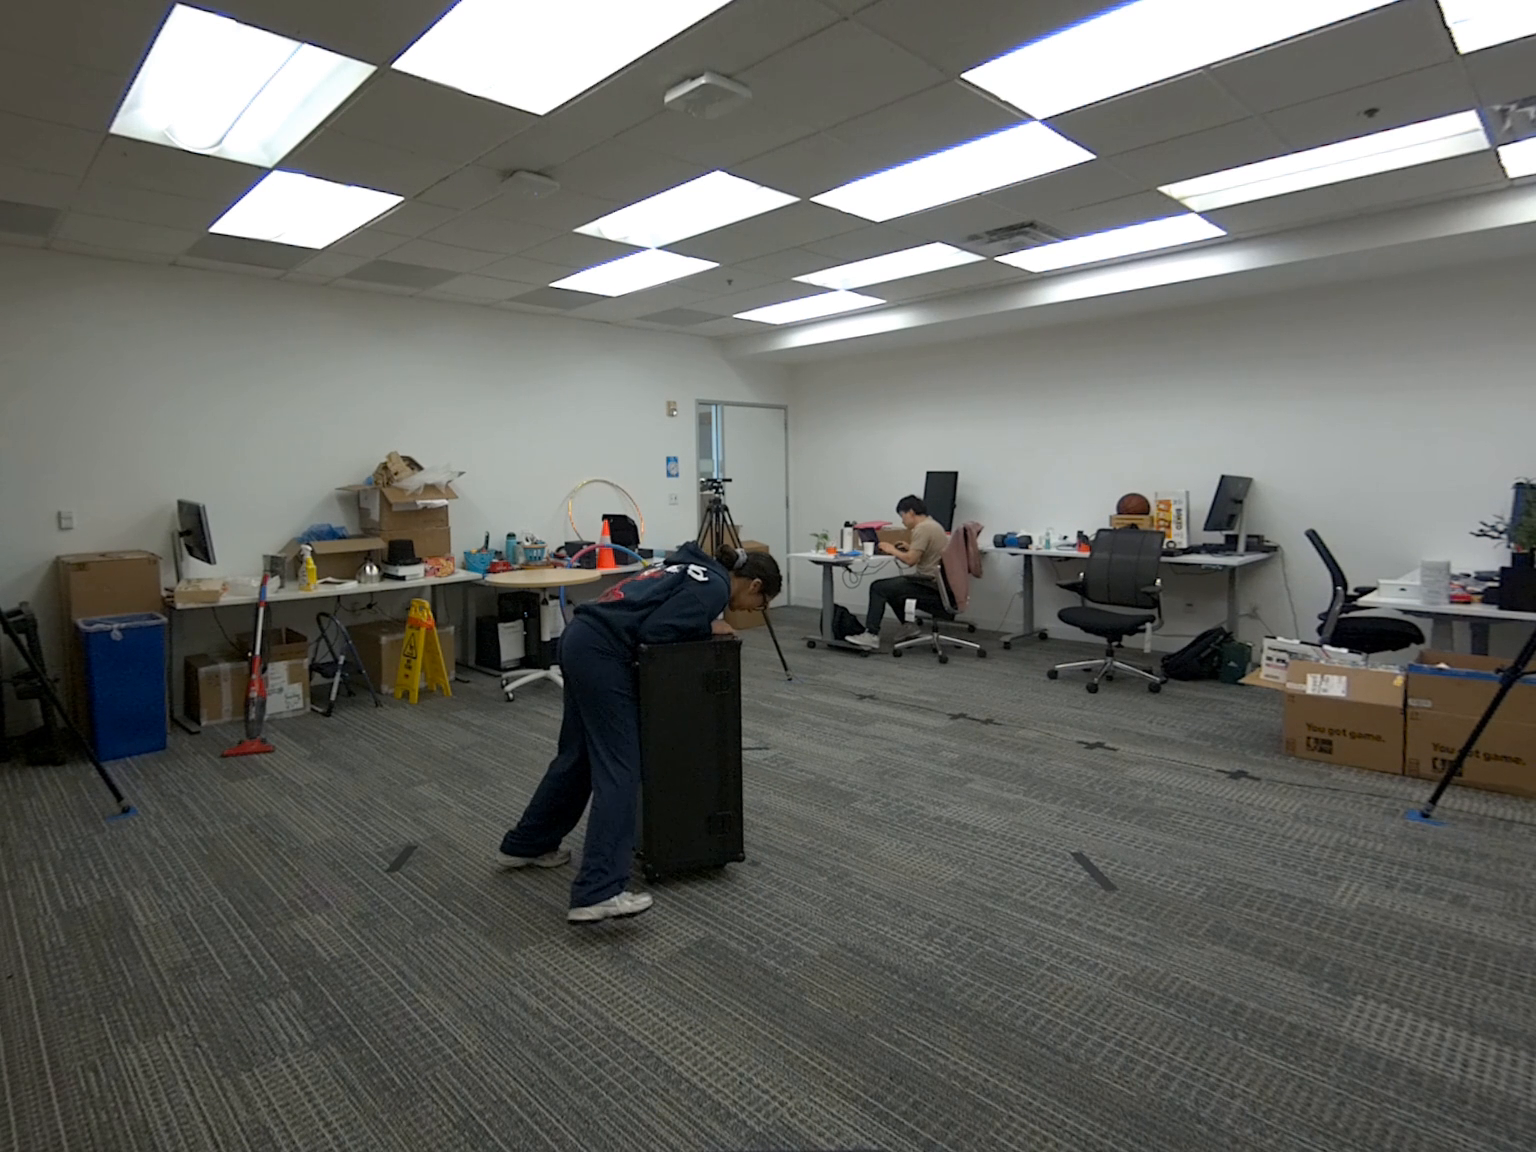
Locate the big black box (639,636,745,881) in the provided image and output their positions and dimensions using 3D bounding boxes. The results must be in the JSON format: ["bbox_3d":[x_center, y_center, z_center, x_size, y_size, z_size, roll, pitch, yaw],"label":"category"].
[{"bbox_3d":[-0.330,0.629,3.125,0.391,0.858,0.531,-3,5,-16],"label":"big black box"}]
